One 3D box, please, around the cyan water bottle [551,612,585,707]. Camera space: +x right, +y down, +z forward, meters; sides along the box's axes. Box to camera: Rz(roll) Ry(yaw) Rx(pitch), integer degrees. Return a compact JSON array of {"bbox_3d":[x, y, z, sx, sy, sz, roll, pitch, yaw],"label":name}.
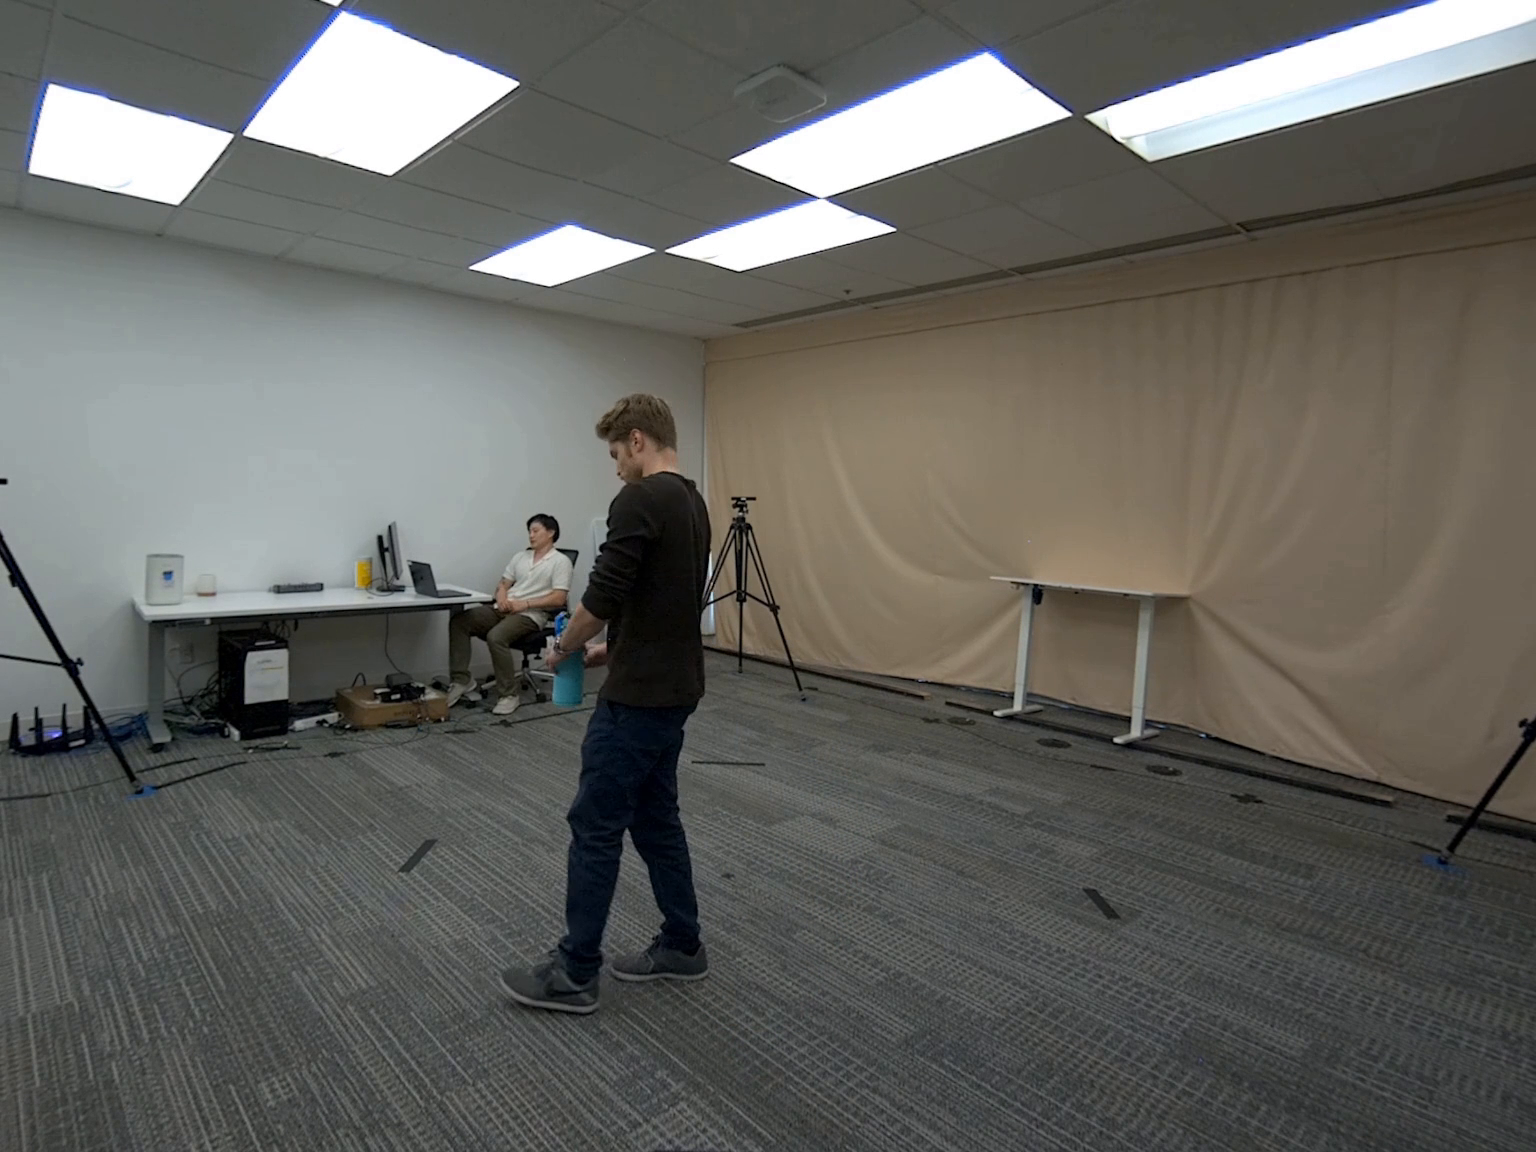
[{"bbox_3d":[-0.593,0.245,2.520,0.092,0.282,0.093,-1,7,-1],"label":"cyan water bottle"}]
